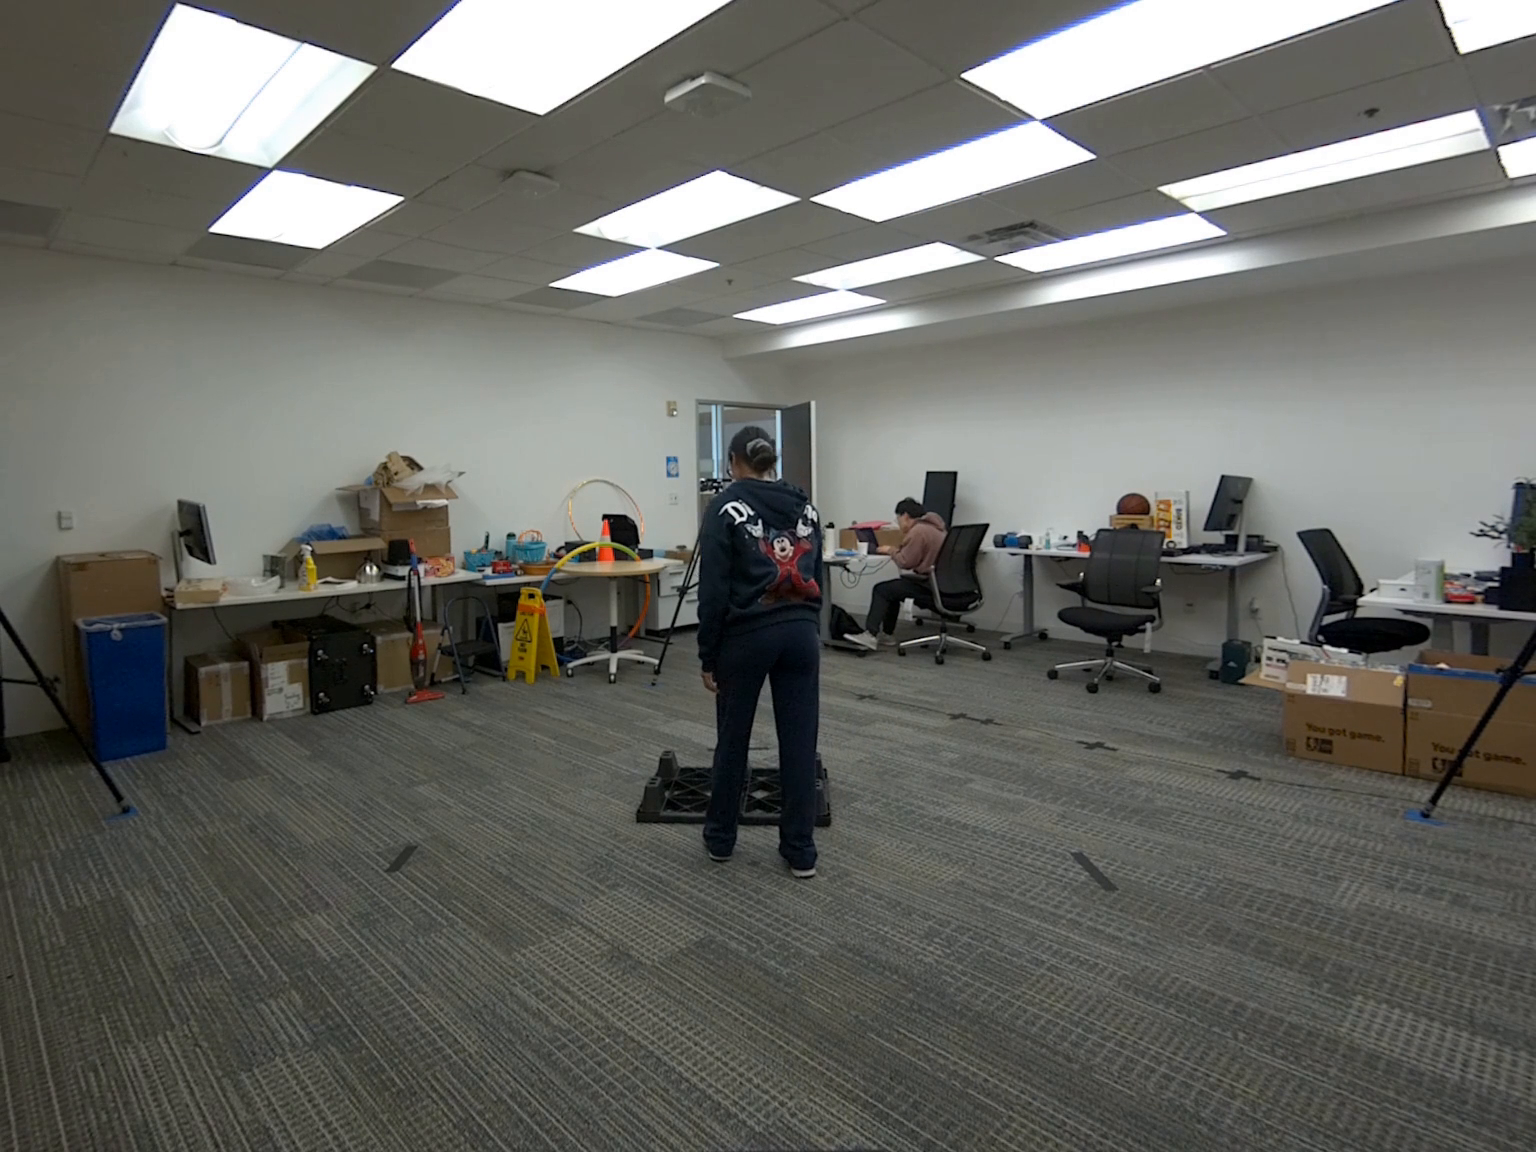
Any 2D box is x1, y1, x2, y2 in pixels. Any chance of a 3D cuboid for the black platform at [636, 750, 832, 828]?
[{"bbox_3d":[-0.127,0.908,3.750,0.809,0.142,0.605,-1,6,4],"label":"black platform"}]
